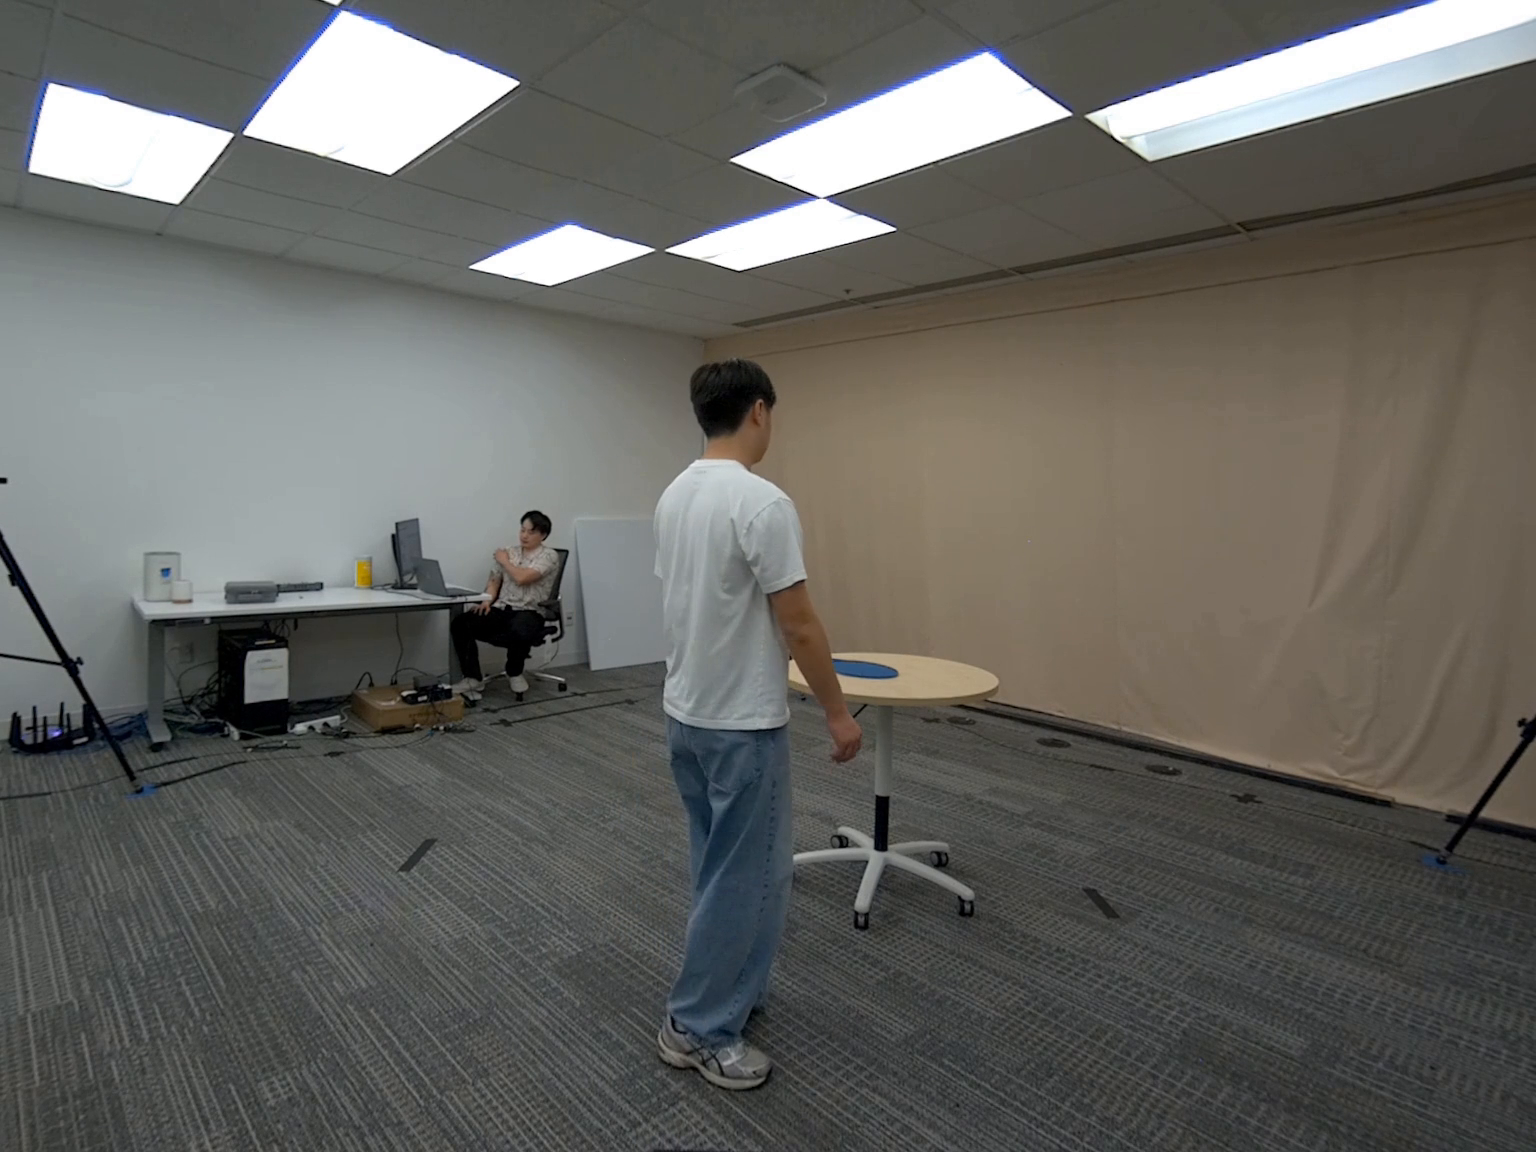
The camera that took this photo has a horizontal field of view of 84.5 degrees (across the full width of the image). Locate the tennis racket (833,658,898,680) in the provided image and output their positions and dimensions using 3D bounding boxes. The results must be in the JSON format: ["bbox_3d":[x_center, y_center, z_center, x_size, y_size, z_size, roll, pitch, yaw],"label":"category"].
[{"bbox_3d":[0.275,0.326,3.071,0.209,0.031,0.444,-4,9,-44],"label":"tennis racket"}]
